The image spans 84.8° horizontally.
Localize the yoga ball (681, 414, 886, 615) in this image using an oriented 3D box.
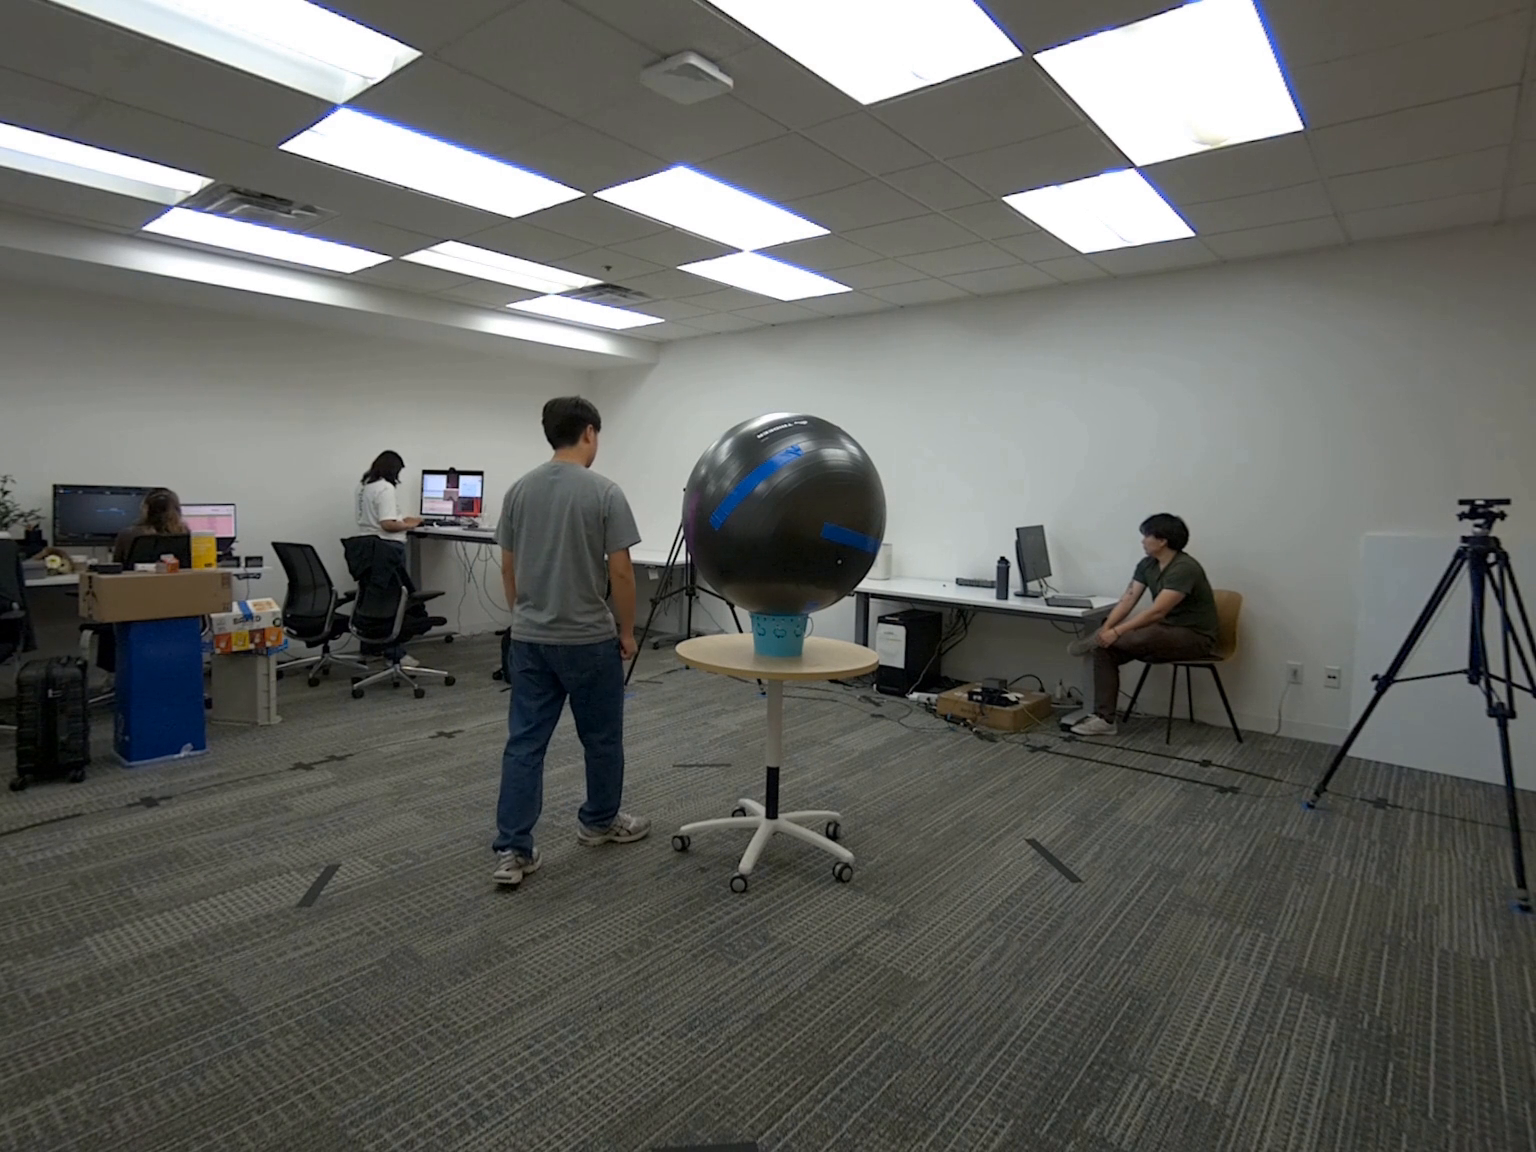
[{"bbox_3d":[0.045,-0.226,3.180,0.757,0.755,0.762,1,4,-2],"label":"yoga ball"}]
